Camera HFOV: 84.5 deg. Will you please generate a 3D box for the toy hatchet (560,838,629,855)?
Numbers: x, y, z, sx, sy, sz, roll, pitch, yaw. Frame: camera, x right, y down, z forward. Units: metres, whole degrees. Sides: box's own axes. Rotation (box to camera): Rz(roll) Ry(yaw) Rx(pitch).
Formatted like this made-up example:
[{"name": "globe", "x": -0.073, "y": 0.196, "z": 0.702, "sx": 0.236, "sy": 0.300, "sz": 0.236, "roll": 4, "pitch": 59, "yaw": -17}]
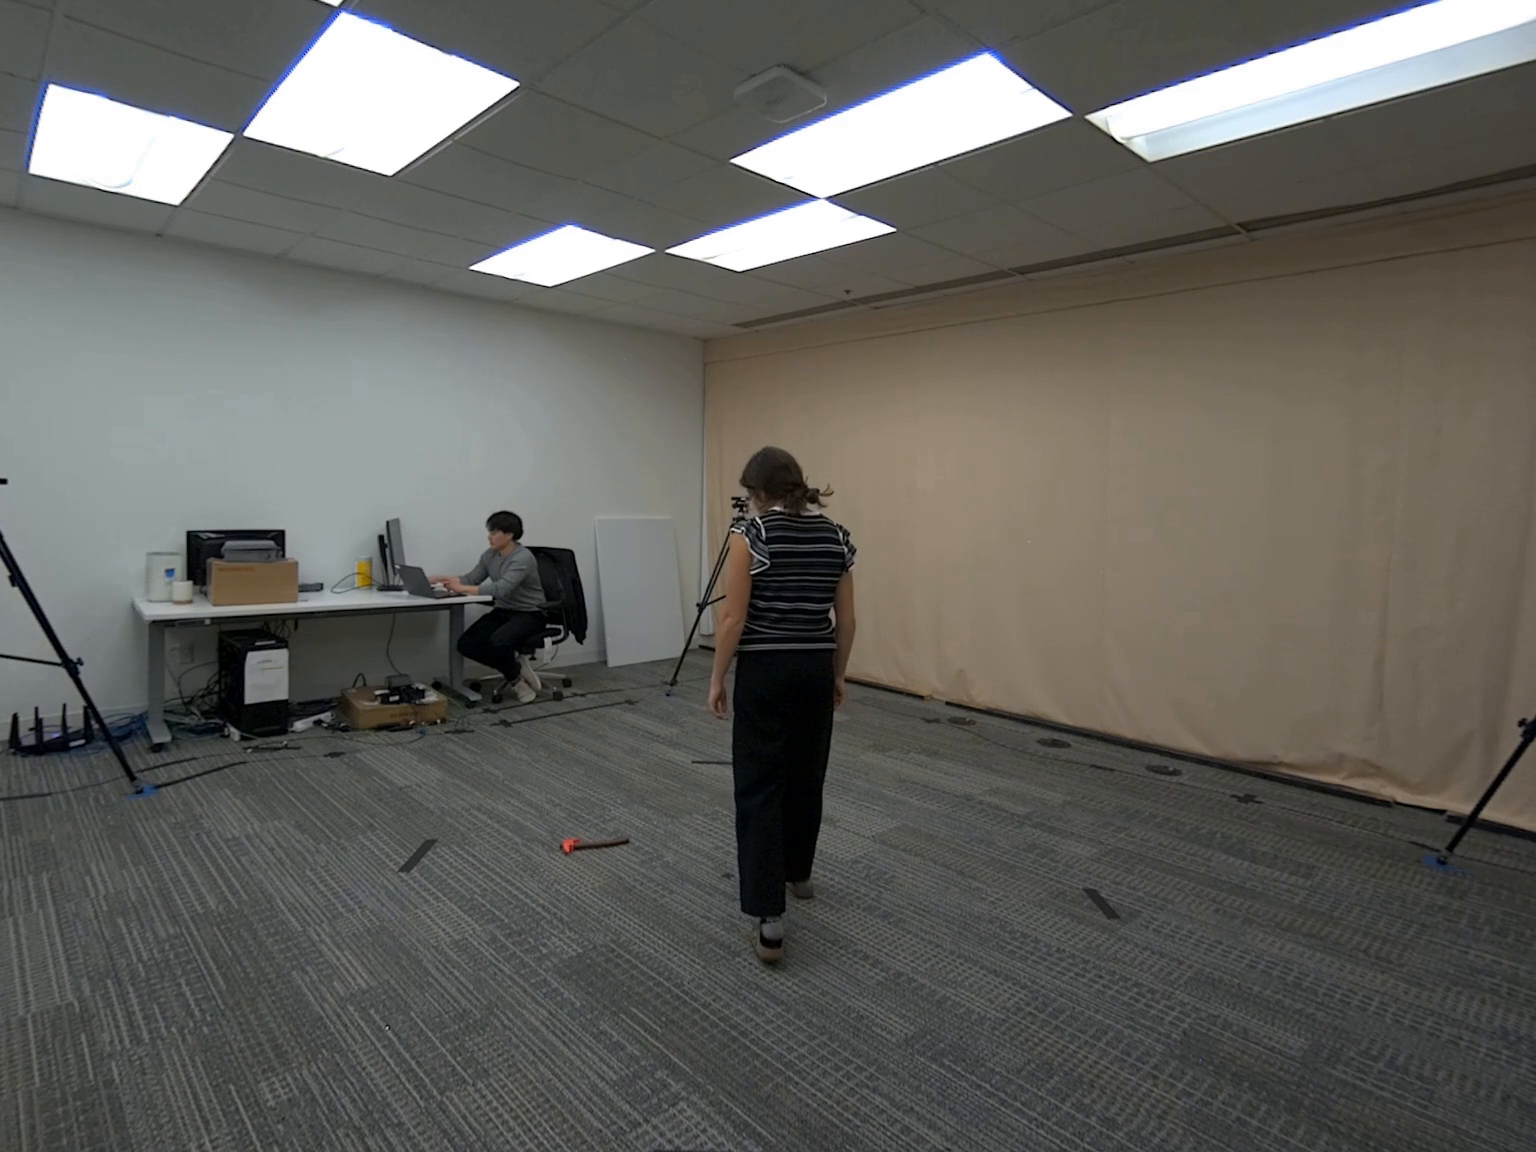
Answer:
[{"name": "toy hatchet", "x": -0.702, "y": 1.055, "z": 3.351, "sx": 0.264, "sy": 0.029, "sz": 0.134, "roll": 1, "pitch": 2, "yaw": -32}]
